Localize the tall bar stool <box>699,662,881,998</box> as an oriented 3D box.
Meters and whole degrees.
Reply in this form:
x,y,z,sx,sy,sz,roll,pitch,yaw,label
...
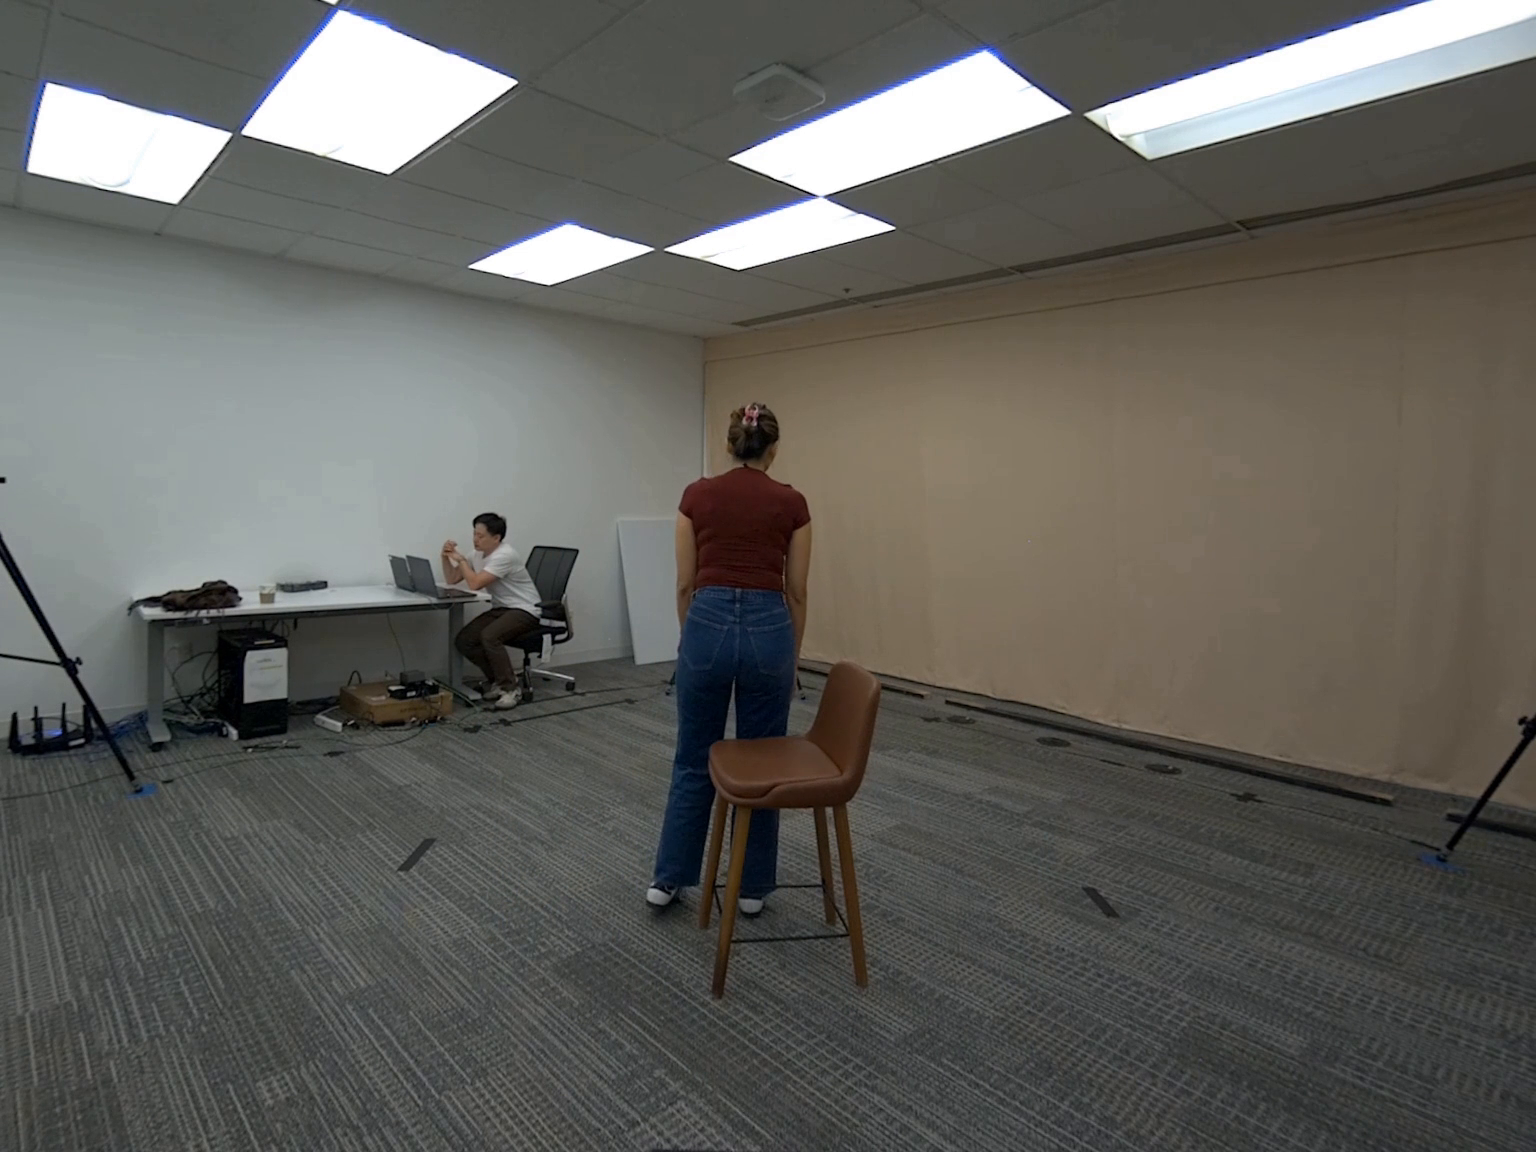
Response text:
x,y,z,sx,sy,sz,roll,pitch,yaw,label
0.051,0.729,2.529,0.464,0.887,0.461,3,4,-10,tall bar stool
